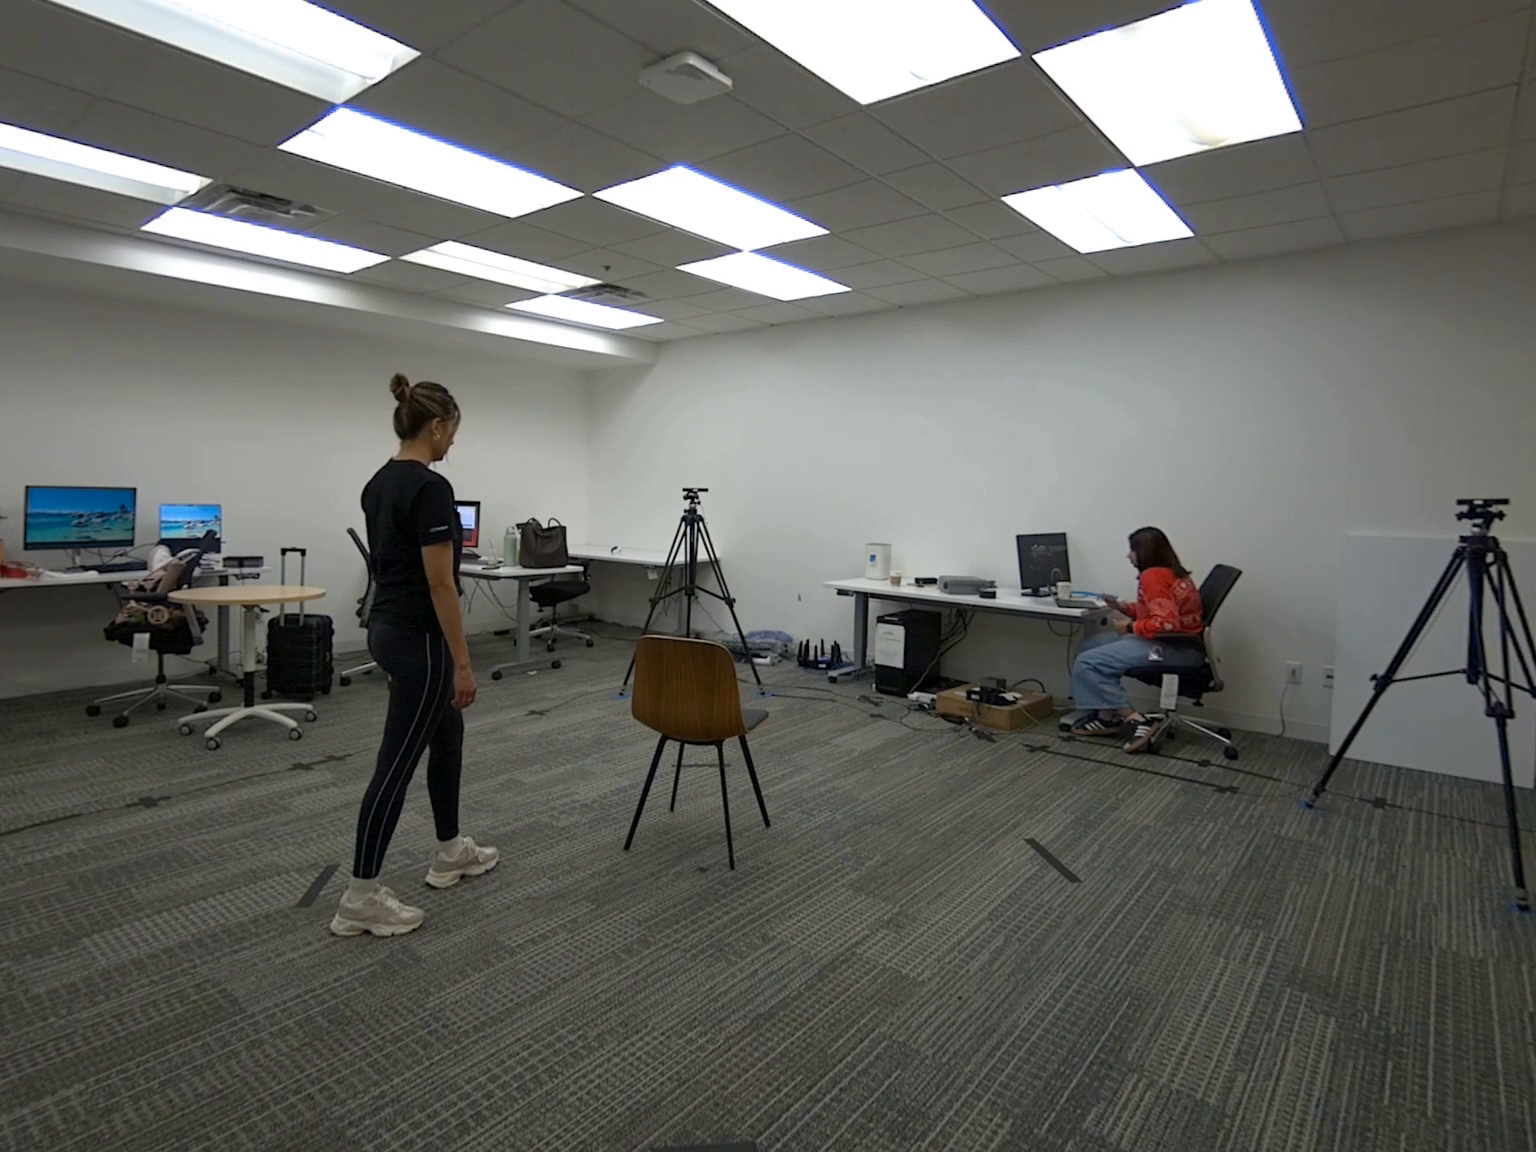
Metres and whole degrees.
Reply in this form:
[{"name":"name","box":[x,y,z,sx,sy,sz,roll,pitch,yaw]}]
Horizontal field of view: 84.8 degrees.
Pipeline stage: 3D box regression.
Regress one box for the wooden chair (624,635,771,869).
[{"name":"wooden chair","box":[-0.276,0.612,3.373,0.488,0.871,0.515,2,8,20]}]
